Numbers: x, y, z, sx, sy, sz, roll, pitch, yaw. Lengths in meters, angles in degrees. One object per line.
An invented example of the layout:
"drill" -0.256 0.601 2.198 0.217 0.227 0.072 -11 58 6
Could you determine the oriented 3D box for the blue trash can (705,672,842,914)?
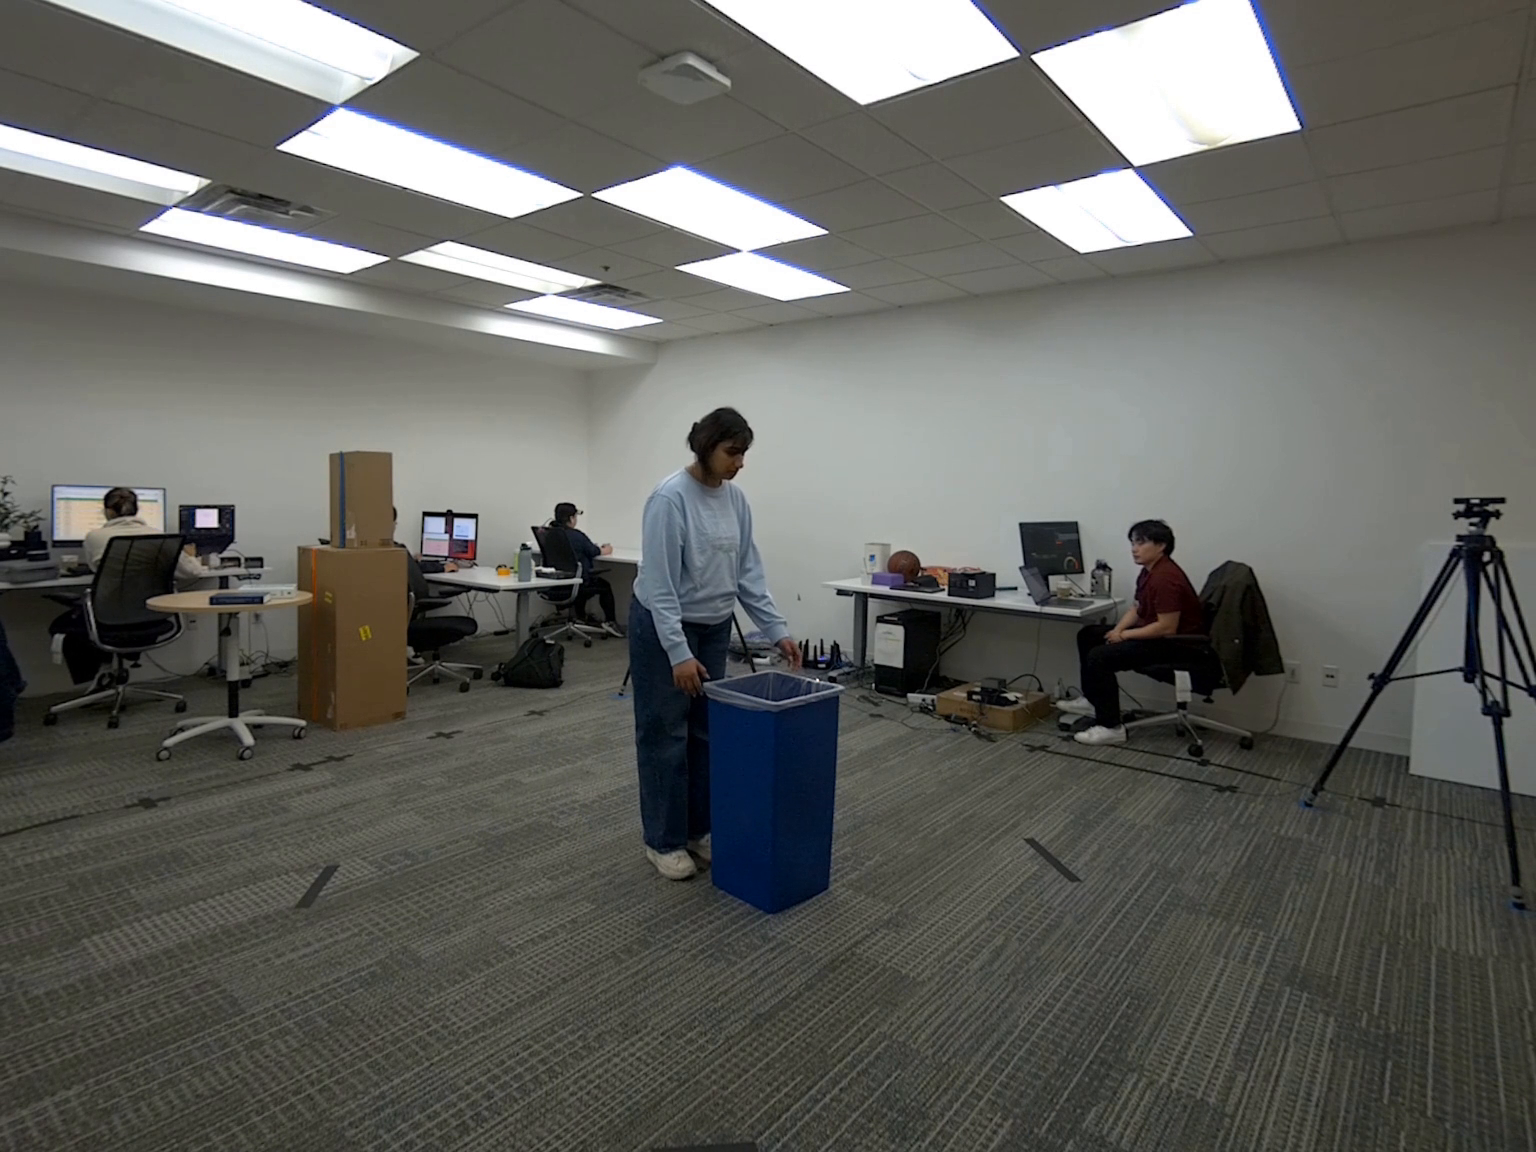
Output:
"blue trash can" 0.007 0.731 2.961 0.391 0.712 0.362 4 4 43
